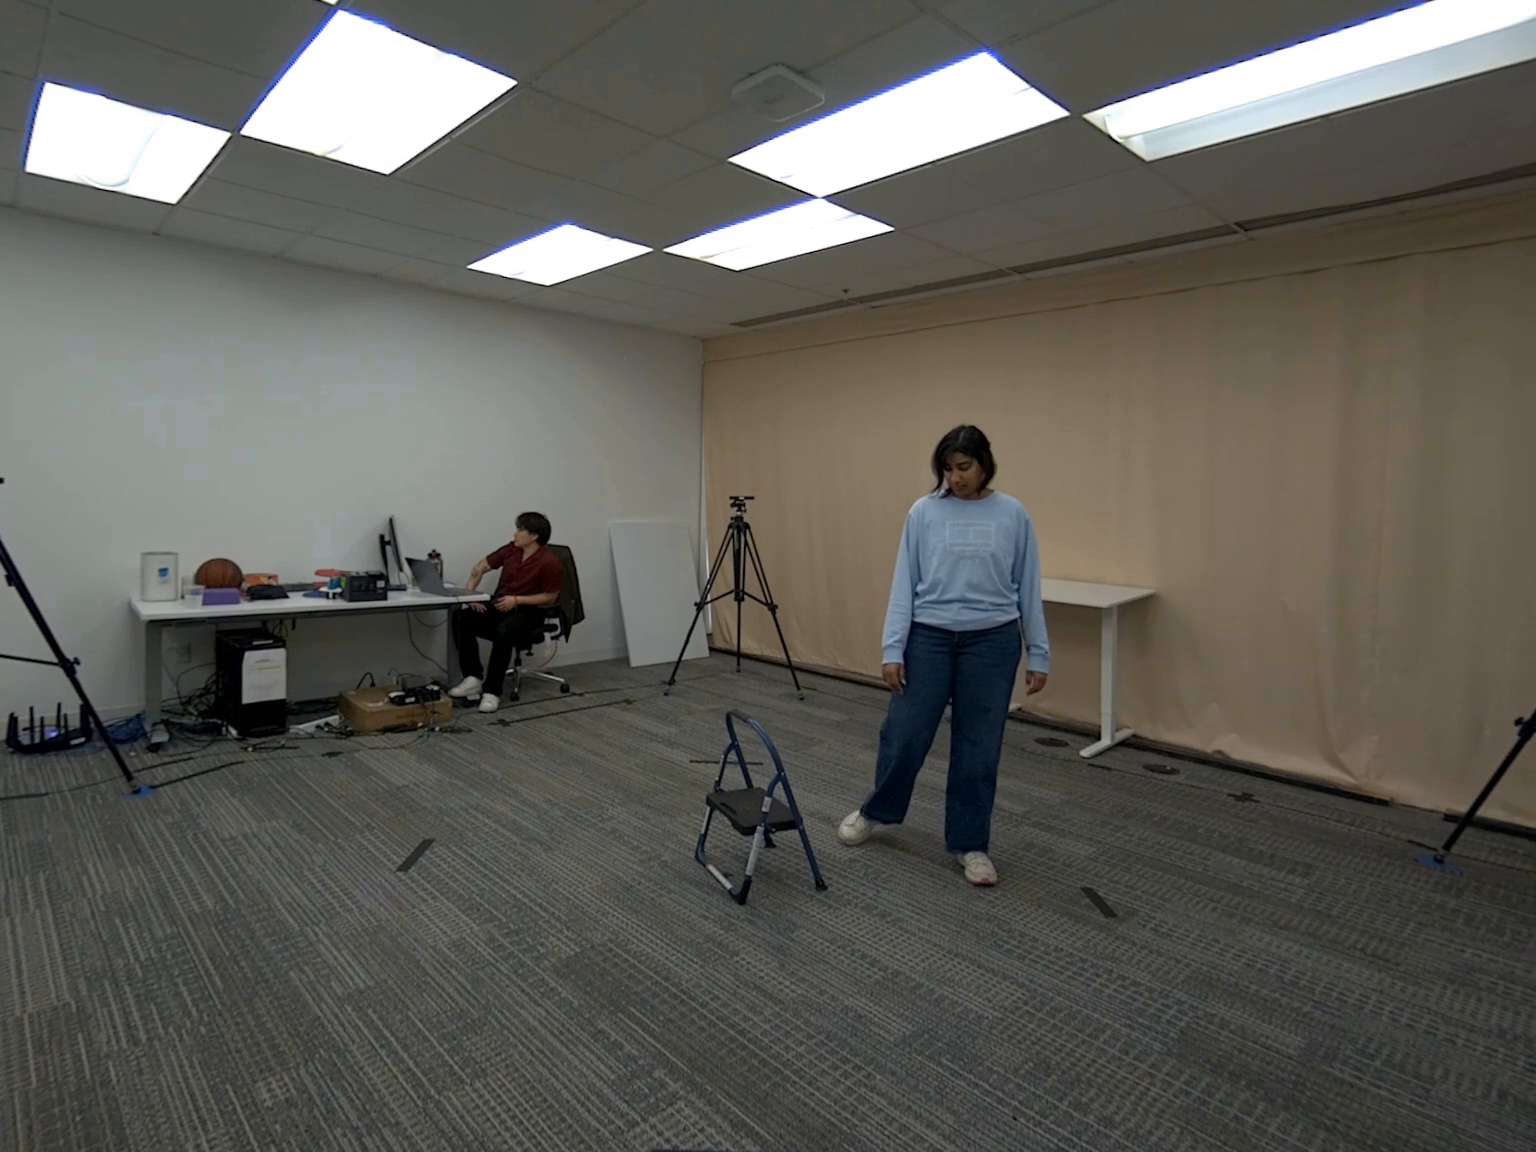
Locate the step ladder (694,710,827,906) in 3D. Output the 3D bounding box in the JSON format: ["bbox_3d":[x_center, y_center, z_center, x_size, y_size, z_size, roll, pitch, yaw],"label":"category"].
[{"bbox_3d":[-0.037,0.804,3.110,0.343,0.605,0.440,0,4,-27],"label":"step ladder"}]
